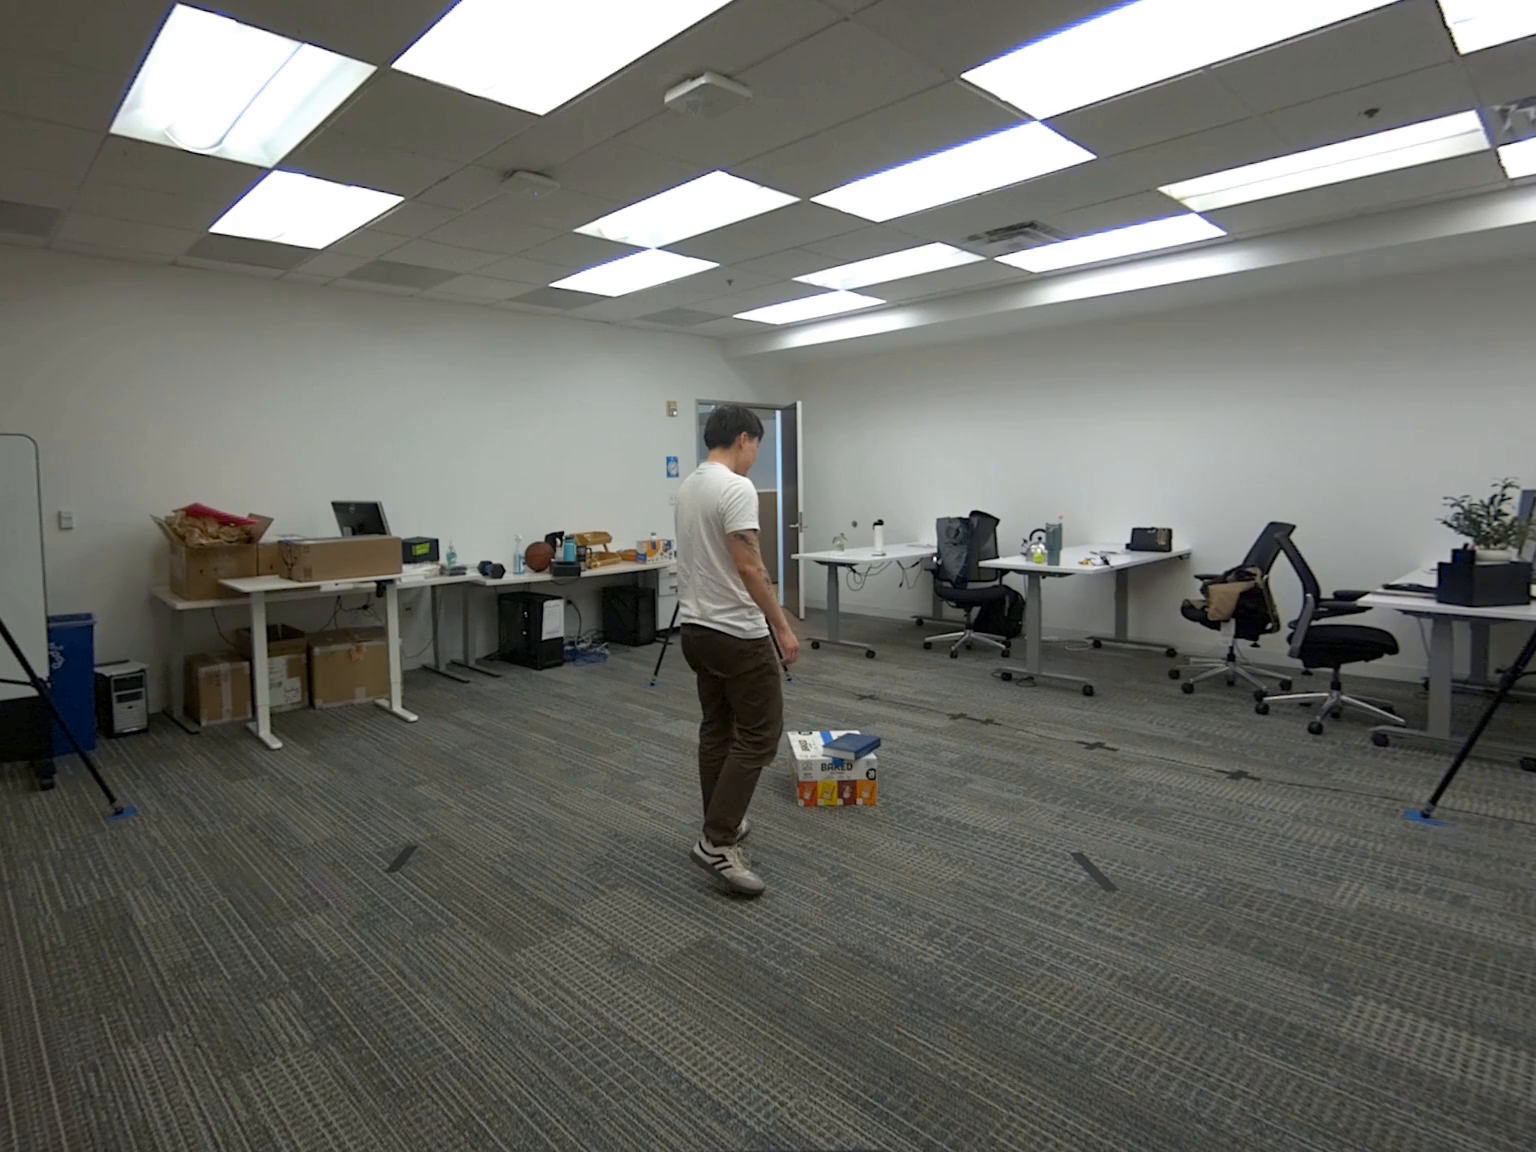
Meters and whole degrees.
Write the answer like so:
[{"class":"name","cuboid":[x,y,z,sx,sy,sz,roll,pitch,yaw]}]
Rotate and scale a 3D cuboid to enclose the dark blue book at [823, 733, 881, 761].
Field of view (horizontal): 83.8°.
[{"class":"dark blue book","cuboid":[0.359,0.745,3.736,0.168,0.045,0.239,1,6,35]}]
